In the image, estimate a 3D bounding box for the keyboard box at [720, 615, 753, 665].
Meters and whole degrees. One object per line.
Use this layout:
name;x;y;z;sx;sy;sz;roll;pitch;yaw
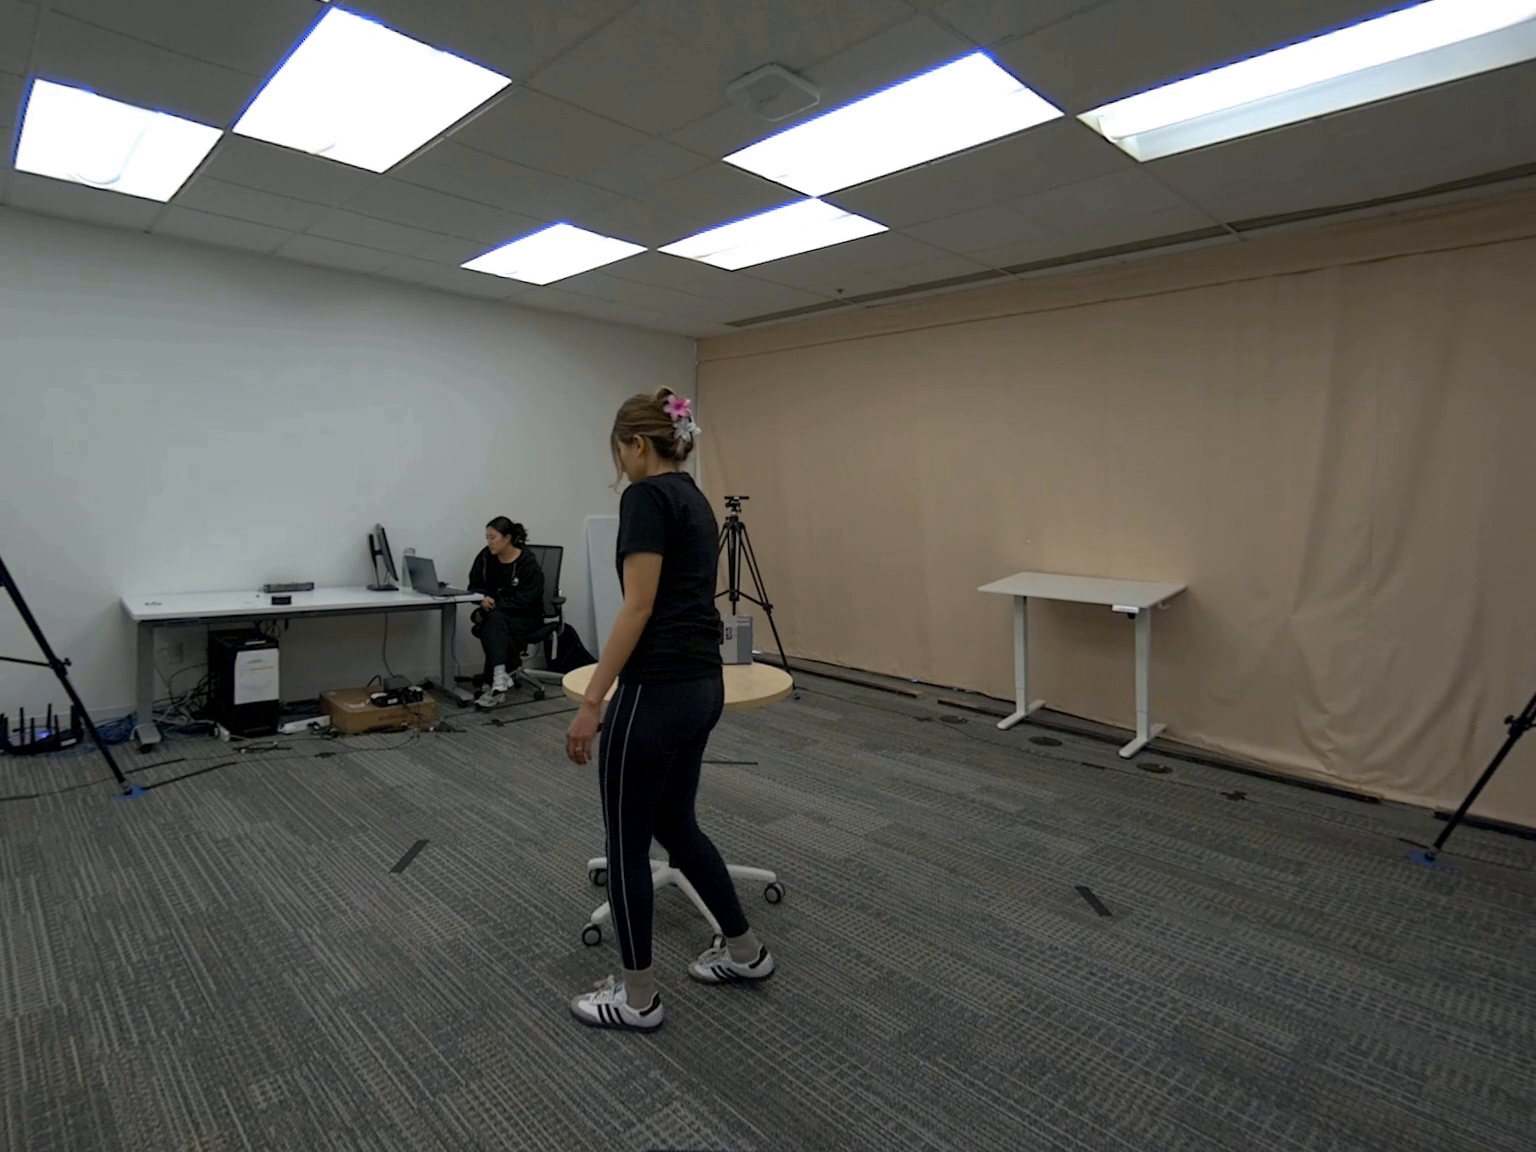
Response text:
keyboard box;-0.284;0.238;3.051;0.434;0.176;0.059;0;-1;-7
